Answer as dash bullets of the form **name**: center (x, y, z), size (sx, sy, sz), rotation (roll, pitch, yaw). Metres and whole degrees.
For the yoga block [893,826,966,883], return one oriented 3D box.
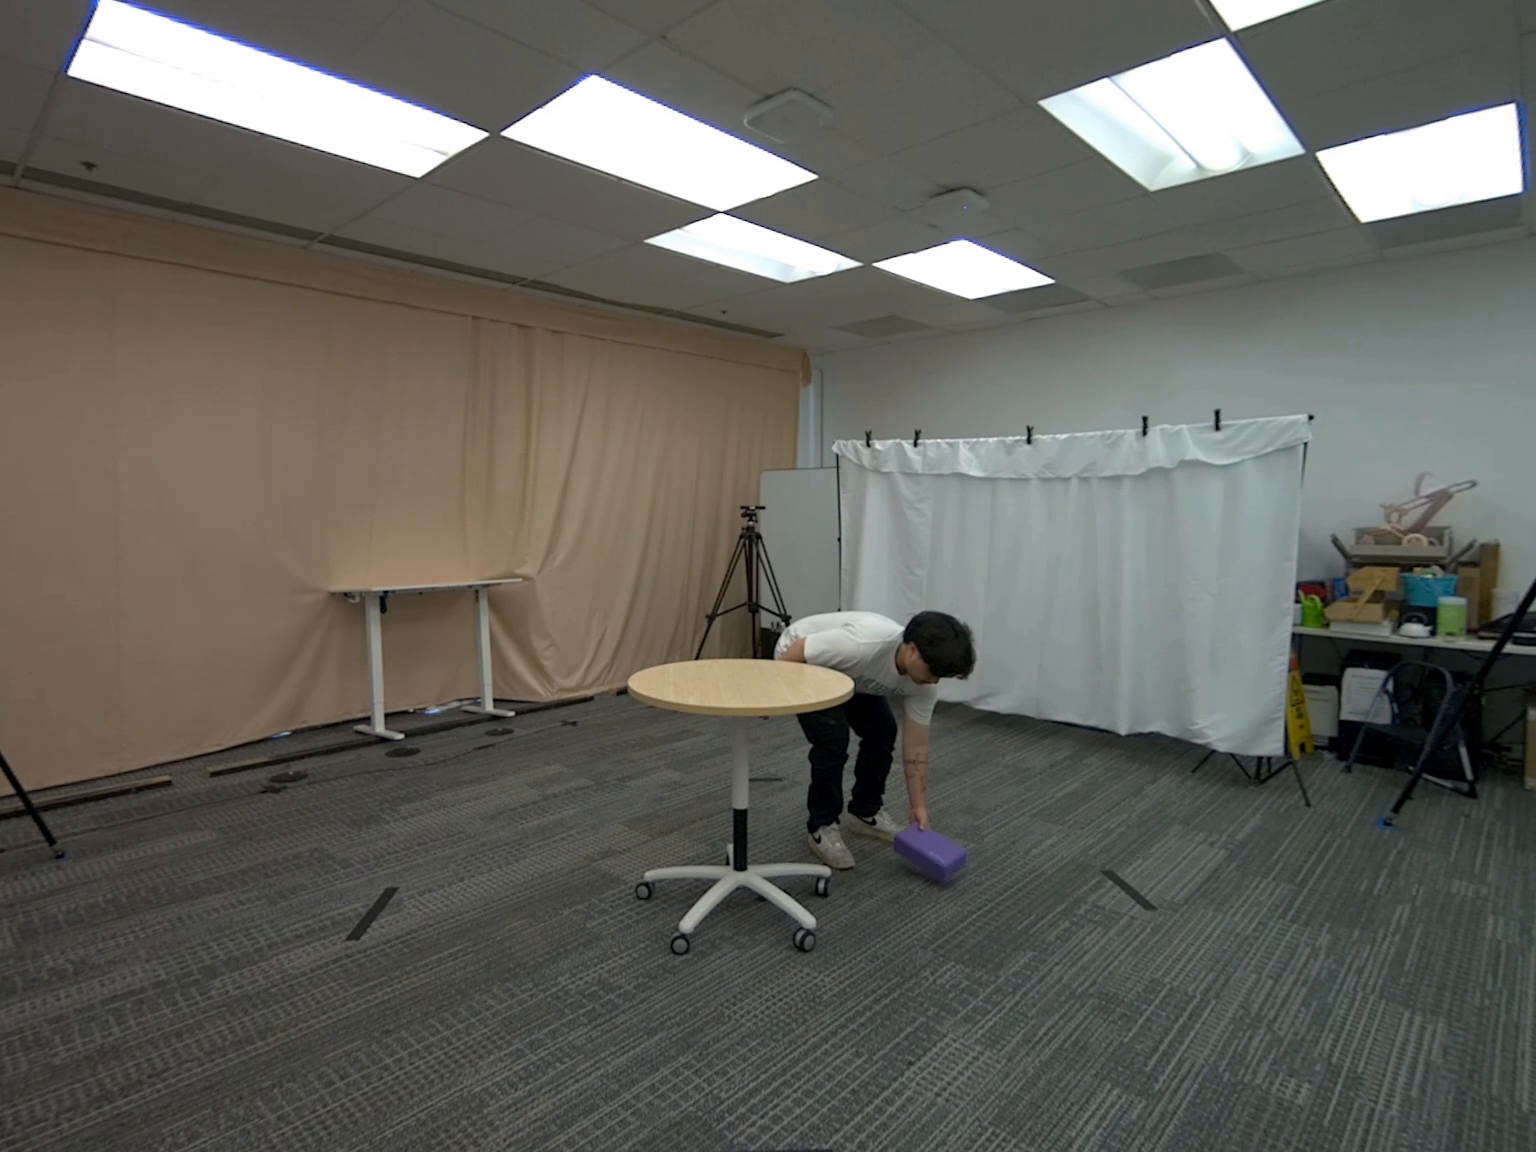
- **yoga block**: center (0.614, 1.018, 3.143), size (0.145, 0.075, 0.238), rotation (-17, 28, -41)
